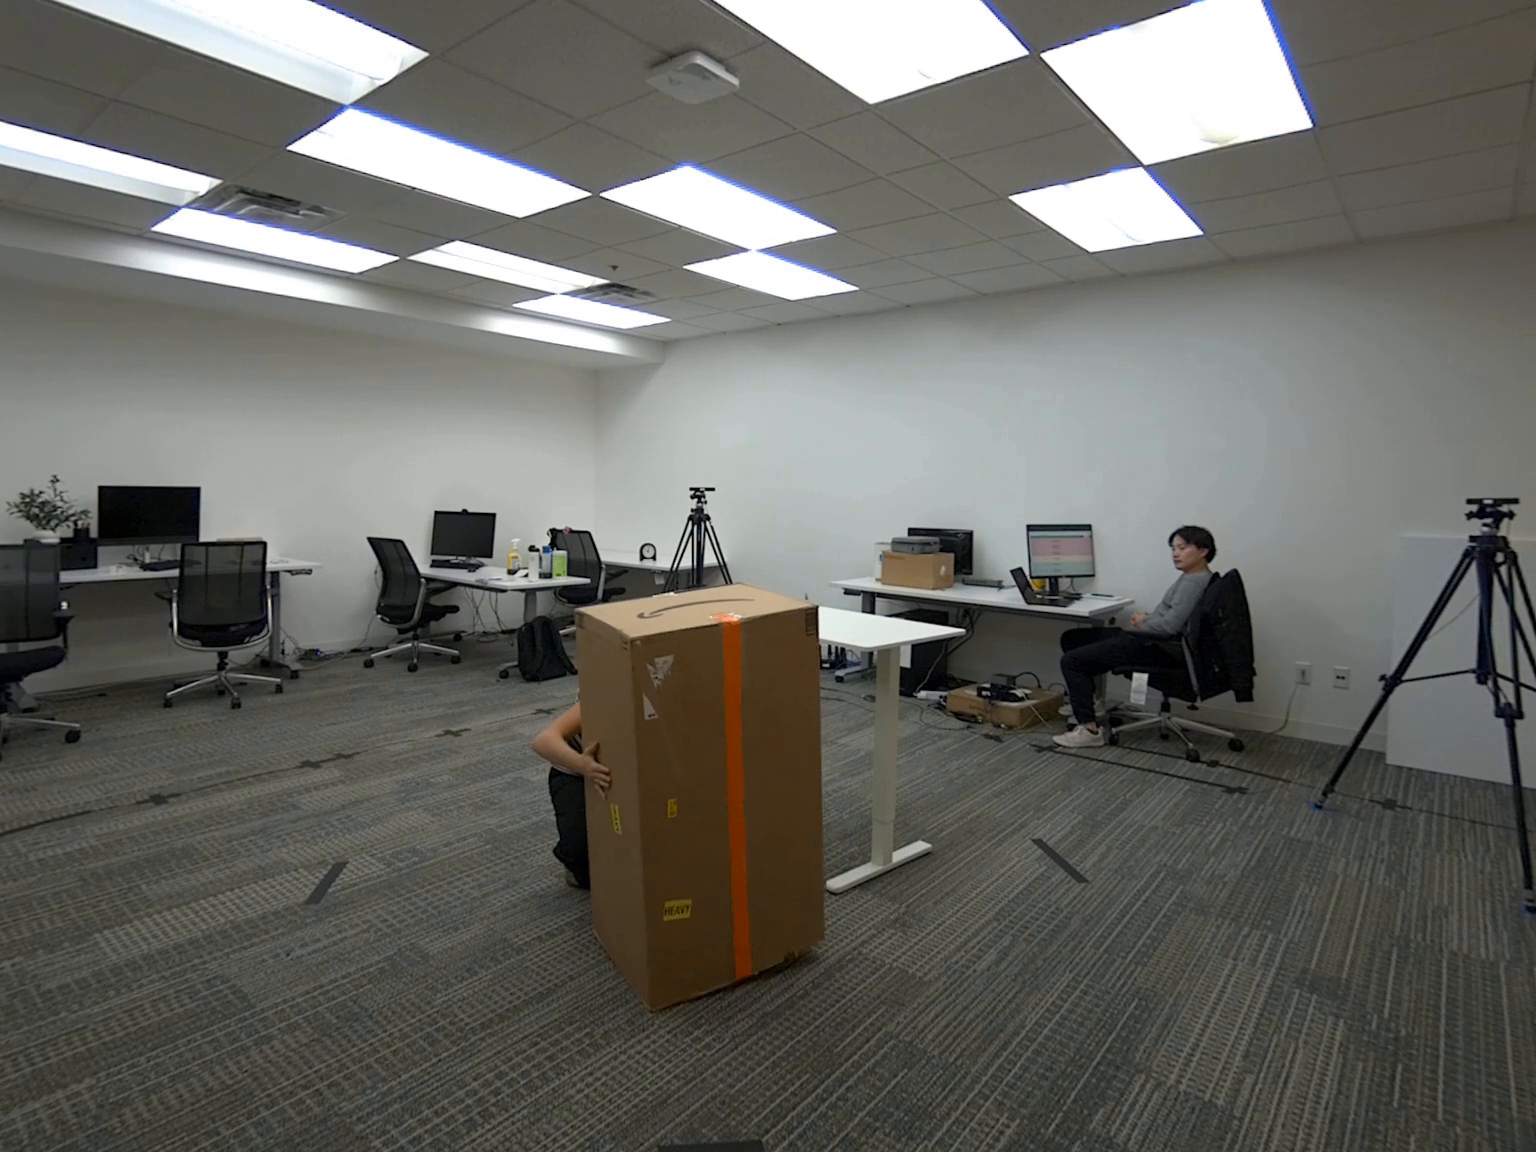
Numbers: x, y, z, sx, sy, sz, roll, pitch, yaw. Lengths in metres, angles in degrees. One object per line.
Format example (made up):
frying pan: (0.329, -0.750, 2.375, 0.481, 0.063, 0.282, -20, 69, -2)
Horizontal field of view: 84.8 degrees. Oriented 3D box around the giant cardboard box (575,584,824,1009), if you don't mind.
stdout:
giant cardboard box: (-0.202, 0.589, 2.482, 0.564, 1.018, 0.439, -6, 9, -27)
